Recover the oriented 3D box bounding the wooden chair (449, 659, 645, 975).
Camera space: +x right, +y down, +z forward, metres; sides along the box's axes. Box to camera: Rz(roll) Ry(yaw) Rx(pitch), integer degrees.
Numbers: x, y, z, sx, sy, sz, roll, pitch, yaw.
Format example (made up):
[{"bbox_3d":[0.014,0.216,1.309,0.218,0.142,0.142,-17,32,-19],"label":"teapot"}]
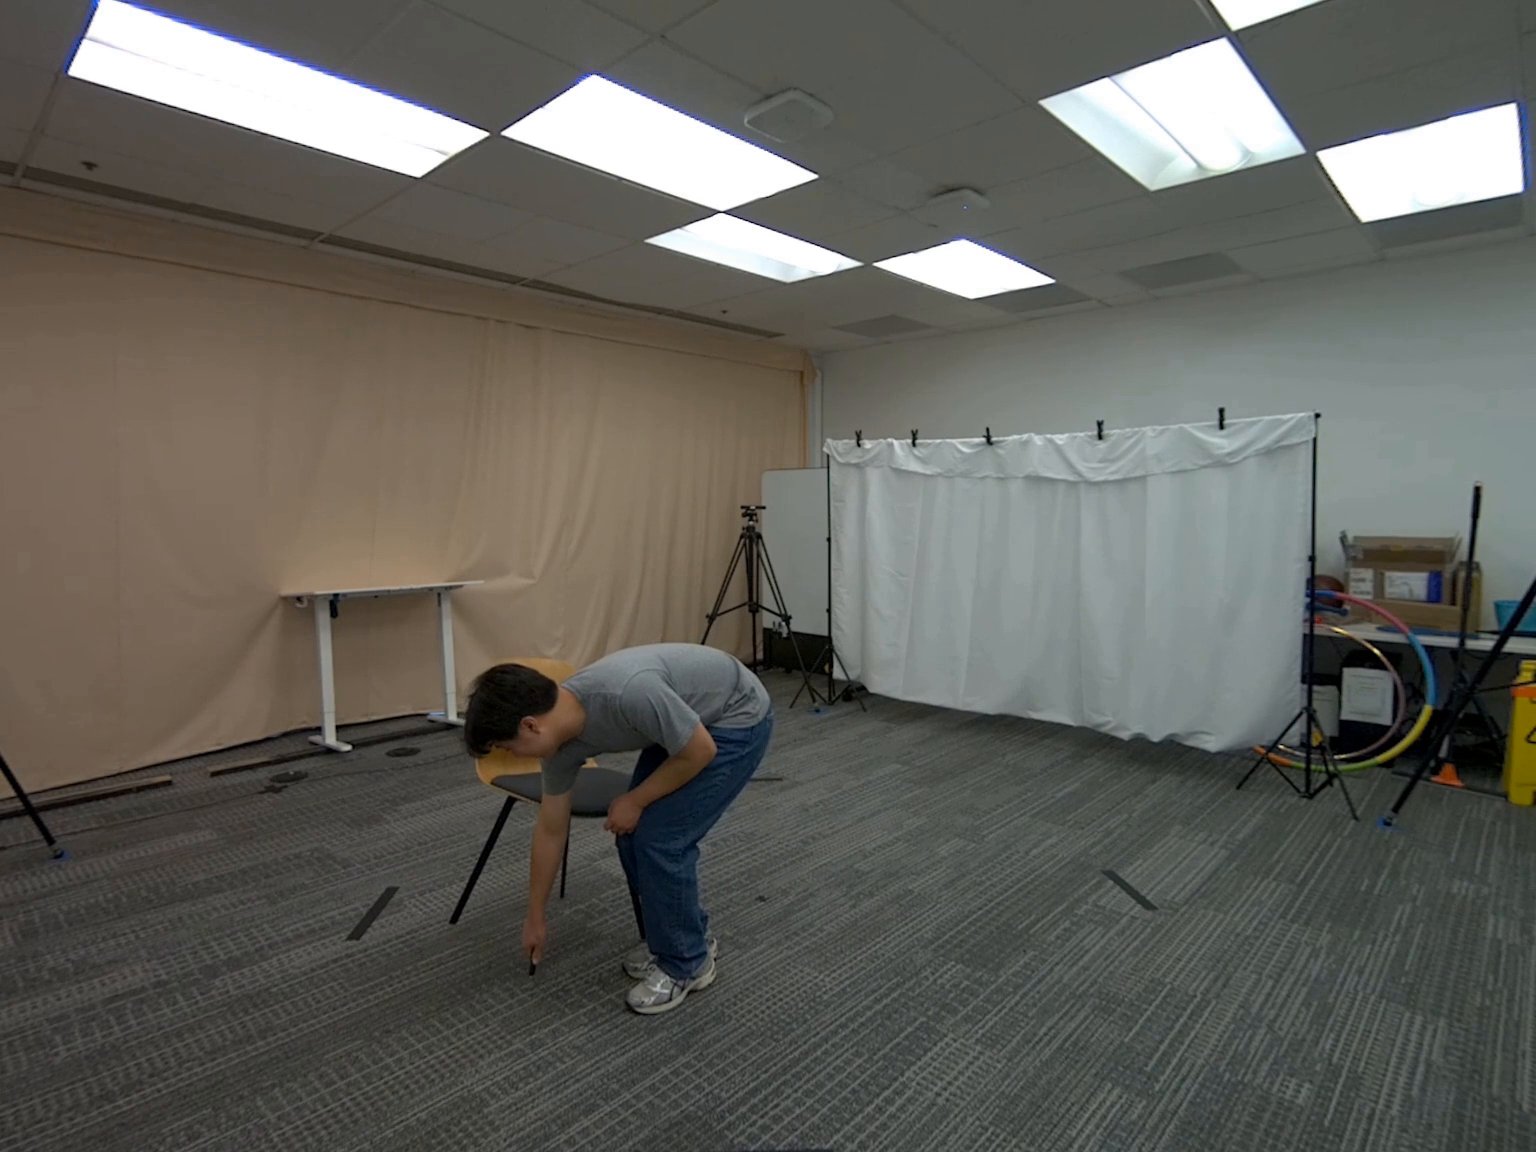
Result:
[{"bbox_3d":[-0.668,0.718,2.713,0.539,0.881,0.462,-4,-8,41],"label":"wooden chair"}]
